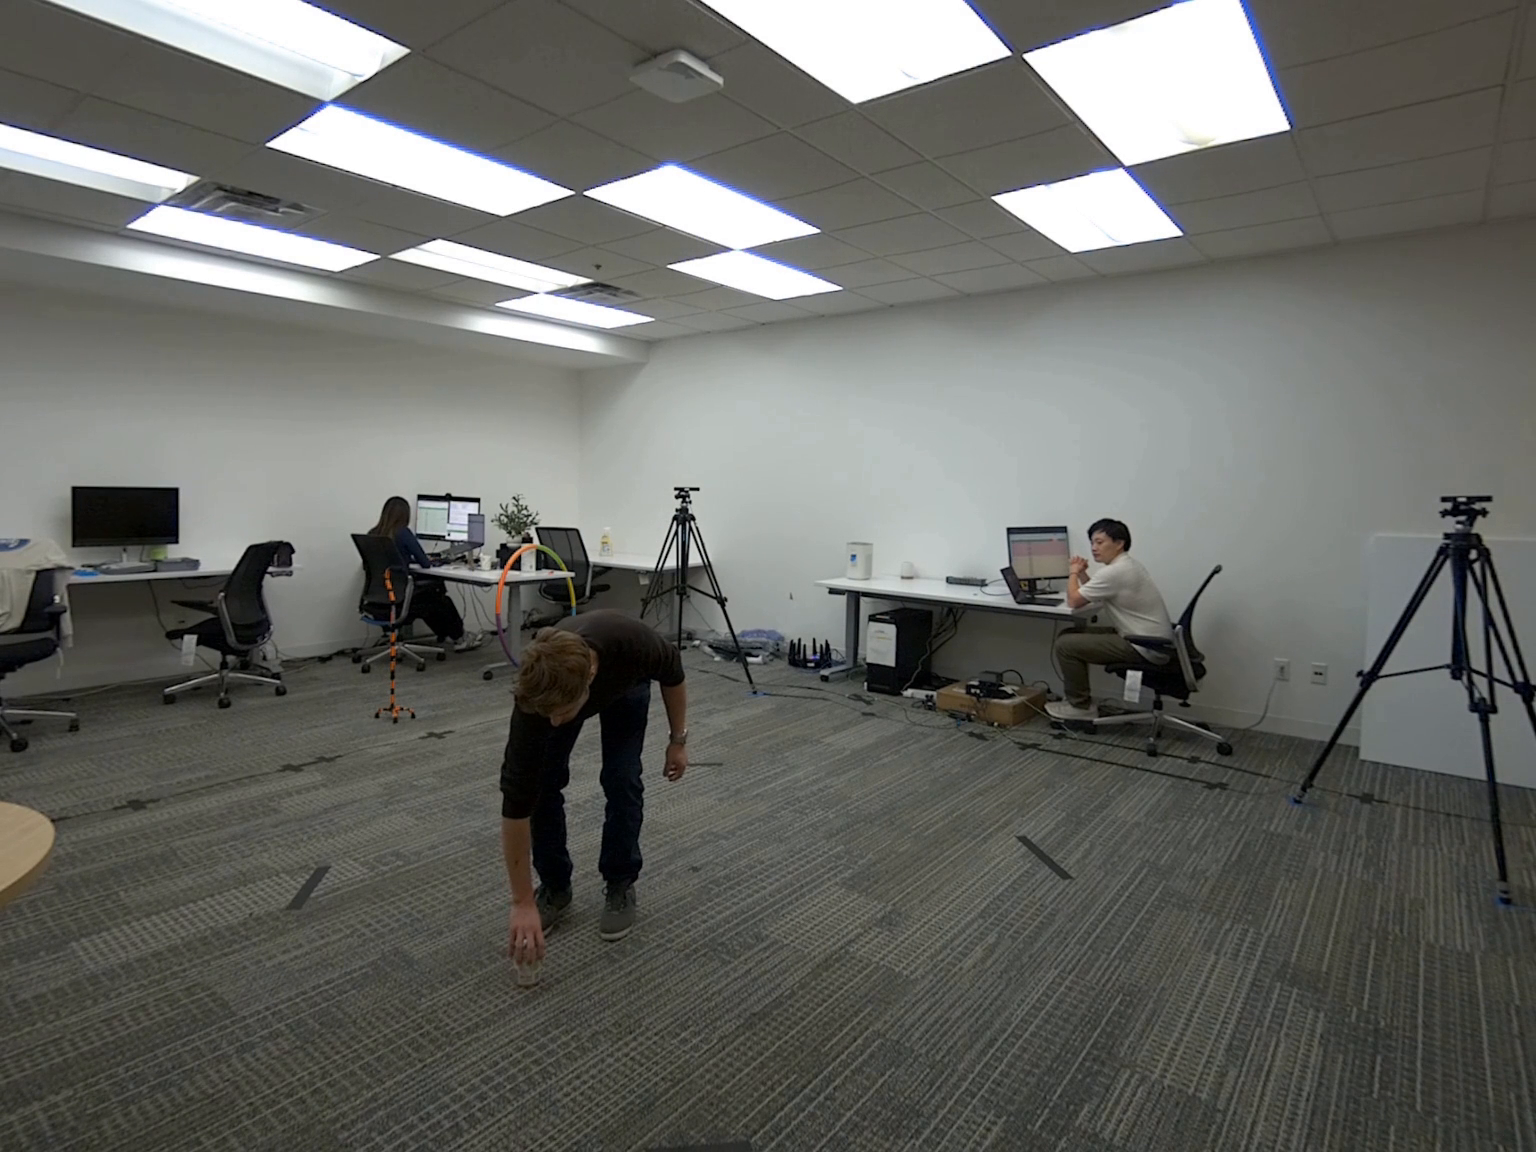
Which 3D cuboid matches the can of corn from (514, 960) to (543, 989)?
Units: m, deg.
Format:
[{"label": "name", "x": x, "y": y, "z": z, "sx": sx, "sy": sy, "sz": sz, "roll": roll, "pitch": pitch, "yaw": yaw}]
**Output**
[{"label": "can of corn", "x": -0.684, "y": 1.075, "z": 2.388, "sx": 0.074, "sy": 0.111, "sz": 0.074, "roll": 4, "pitch": 4, "yaw": -2}]
